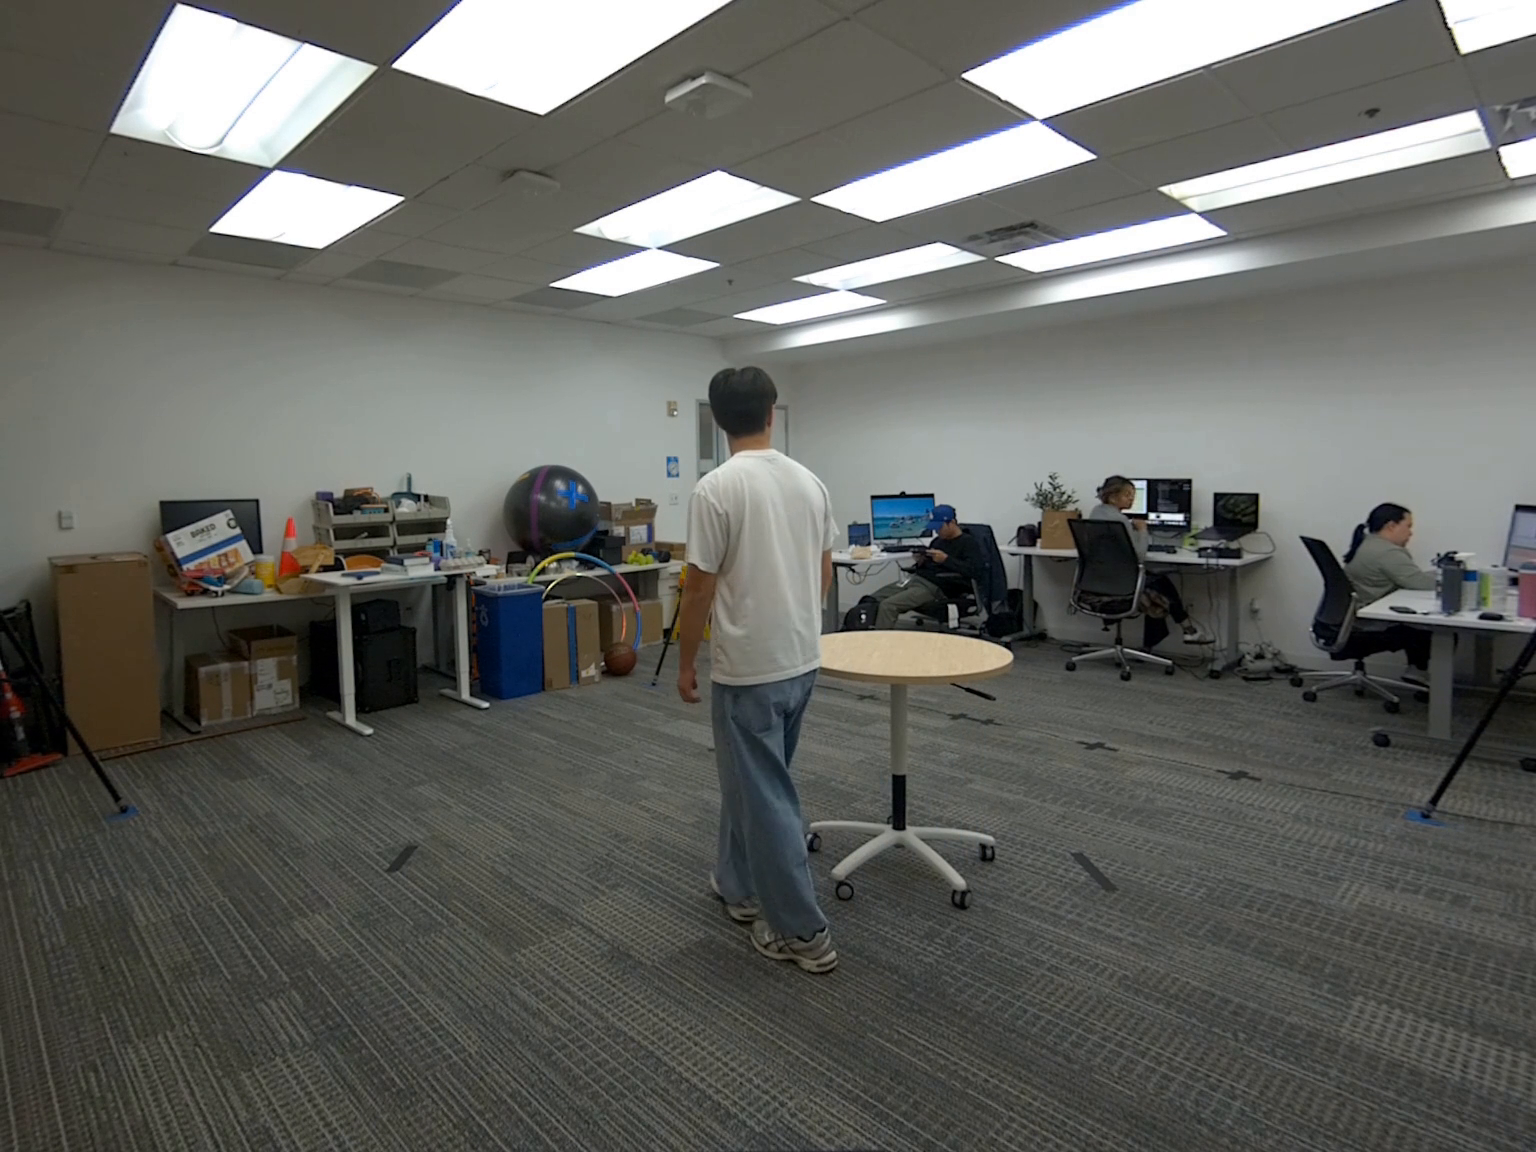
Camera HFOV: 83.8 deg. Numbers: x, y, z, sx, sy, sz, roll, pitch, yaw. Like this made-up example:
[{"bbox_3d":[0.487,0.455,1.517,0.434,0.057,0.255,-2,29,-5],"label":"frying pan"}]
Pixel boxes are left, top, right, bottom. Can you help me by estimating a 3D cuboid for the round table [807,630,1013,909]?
[{"bbox_3d":[0.470,0.653,3.027,0.784,0.784,0.789,-1,5,-2],"label":"round table"}]
